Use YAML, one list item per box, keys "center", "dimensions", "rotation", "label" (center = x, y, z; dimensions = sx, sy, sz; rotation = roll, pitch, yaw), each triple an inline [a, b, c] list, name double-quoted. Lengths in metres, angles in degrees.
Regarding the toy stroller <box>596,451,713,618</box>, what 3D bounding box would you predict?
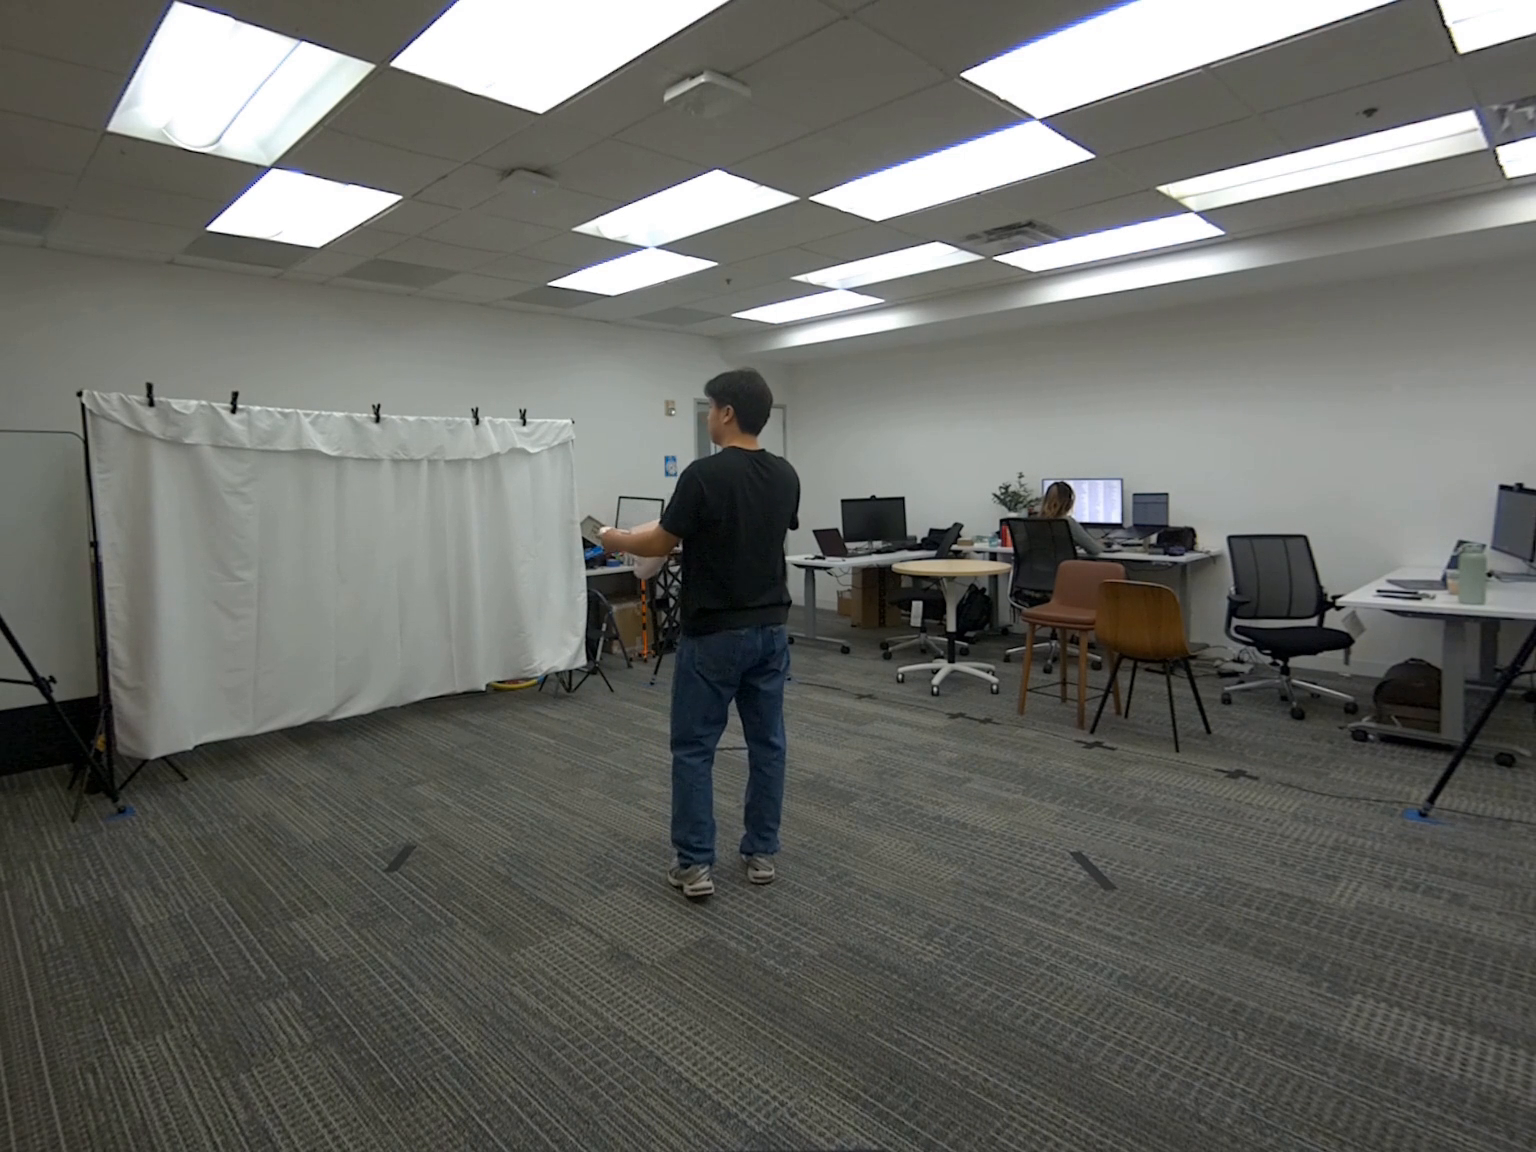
- center: [-0.326, -0.173, 3.320]
  dimensions: [0.533, 0.331, 0.290]
  rotation: [-34, 26, -8]
  label: "toy stroller"
